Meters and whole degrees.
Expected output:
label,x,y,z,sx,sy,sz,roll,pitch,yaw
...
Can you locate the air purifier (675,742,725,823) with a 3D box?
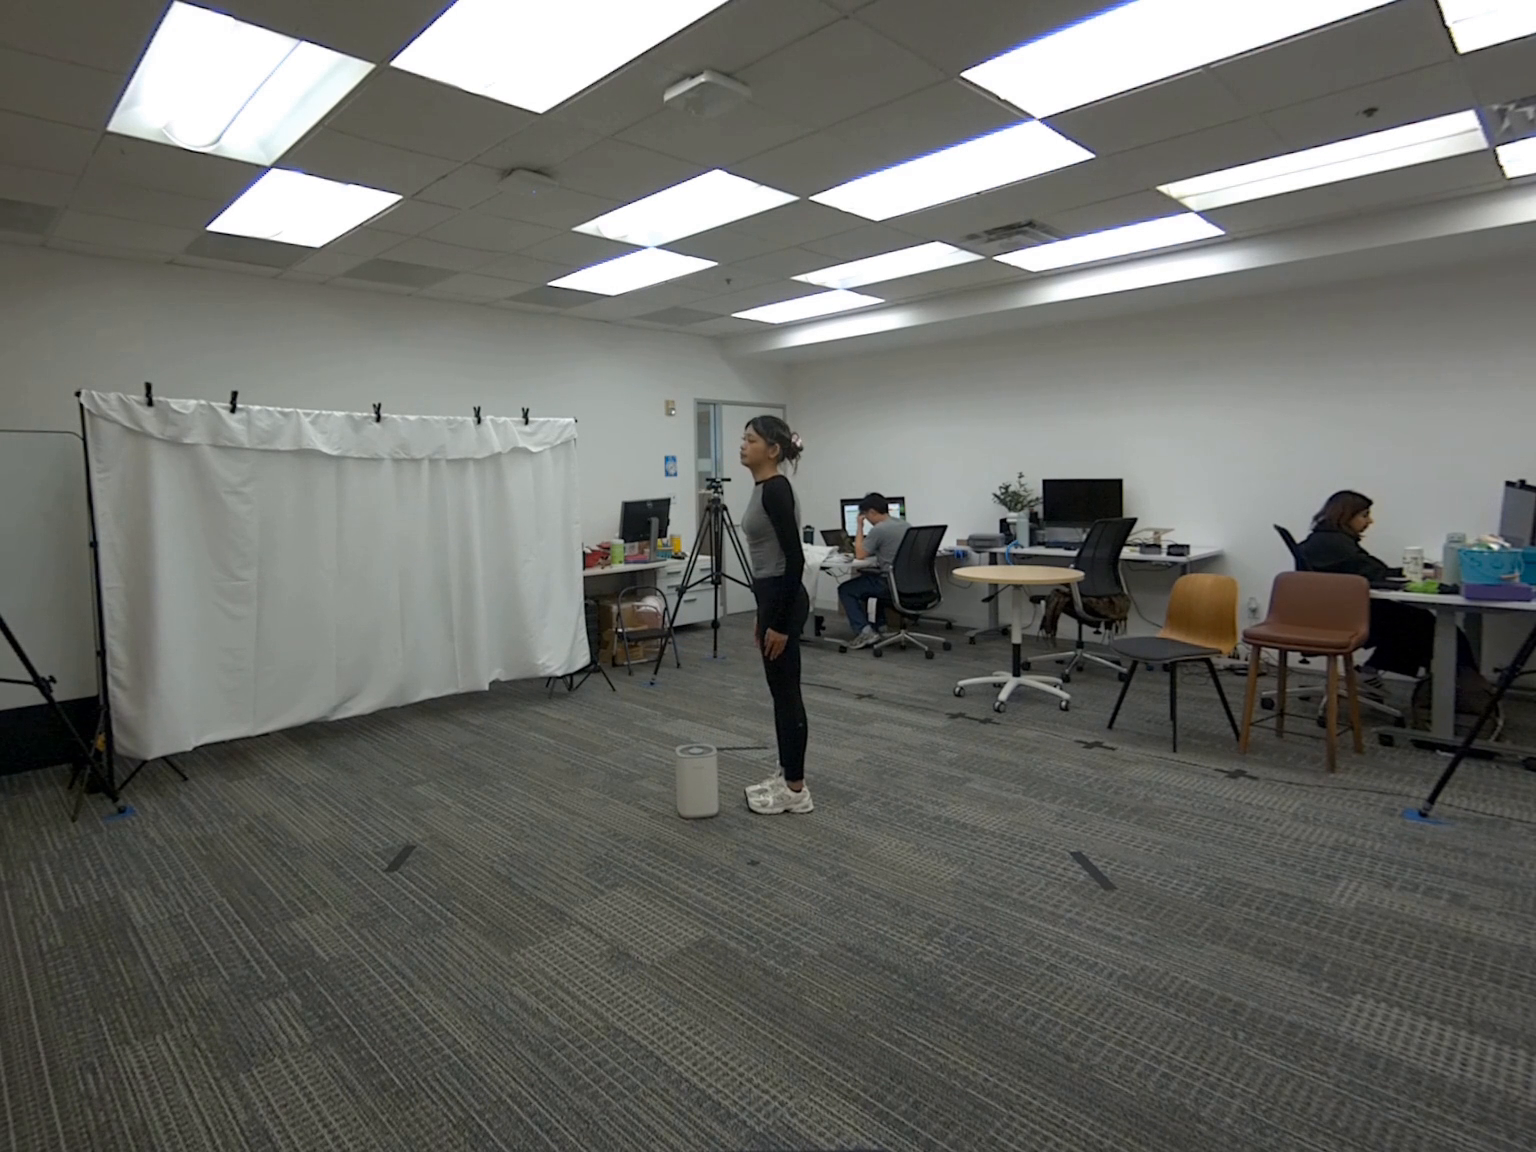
label,x,y,z,sx,sy,sz,roll,pitch,yaw
air purifier,-0.290,0.858,3.583,0.169,0.264,0.174,-3,4,-11
